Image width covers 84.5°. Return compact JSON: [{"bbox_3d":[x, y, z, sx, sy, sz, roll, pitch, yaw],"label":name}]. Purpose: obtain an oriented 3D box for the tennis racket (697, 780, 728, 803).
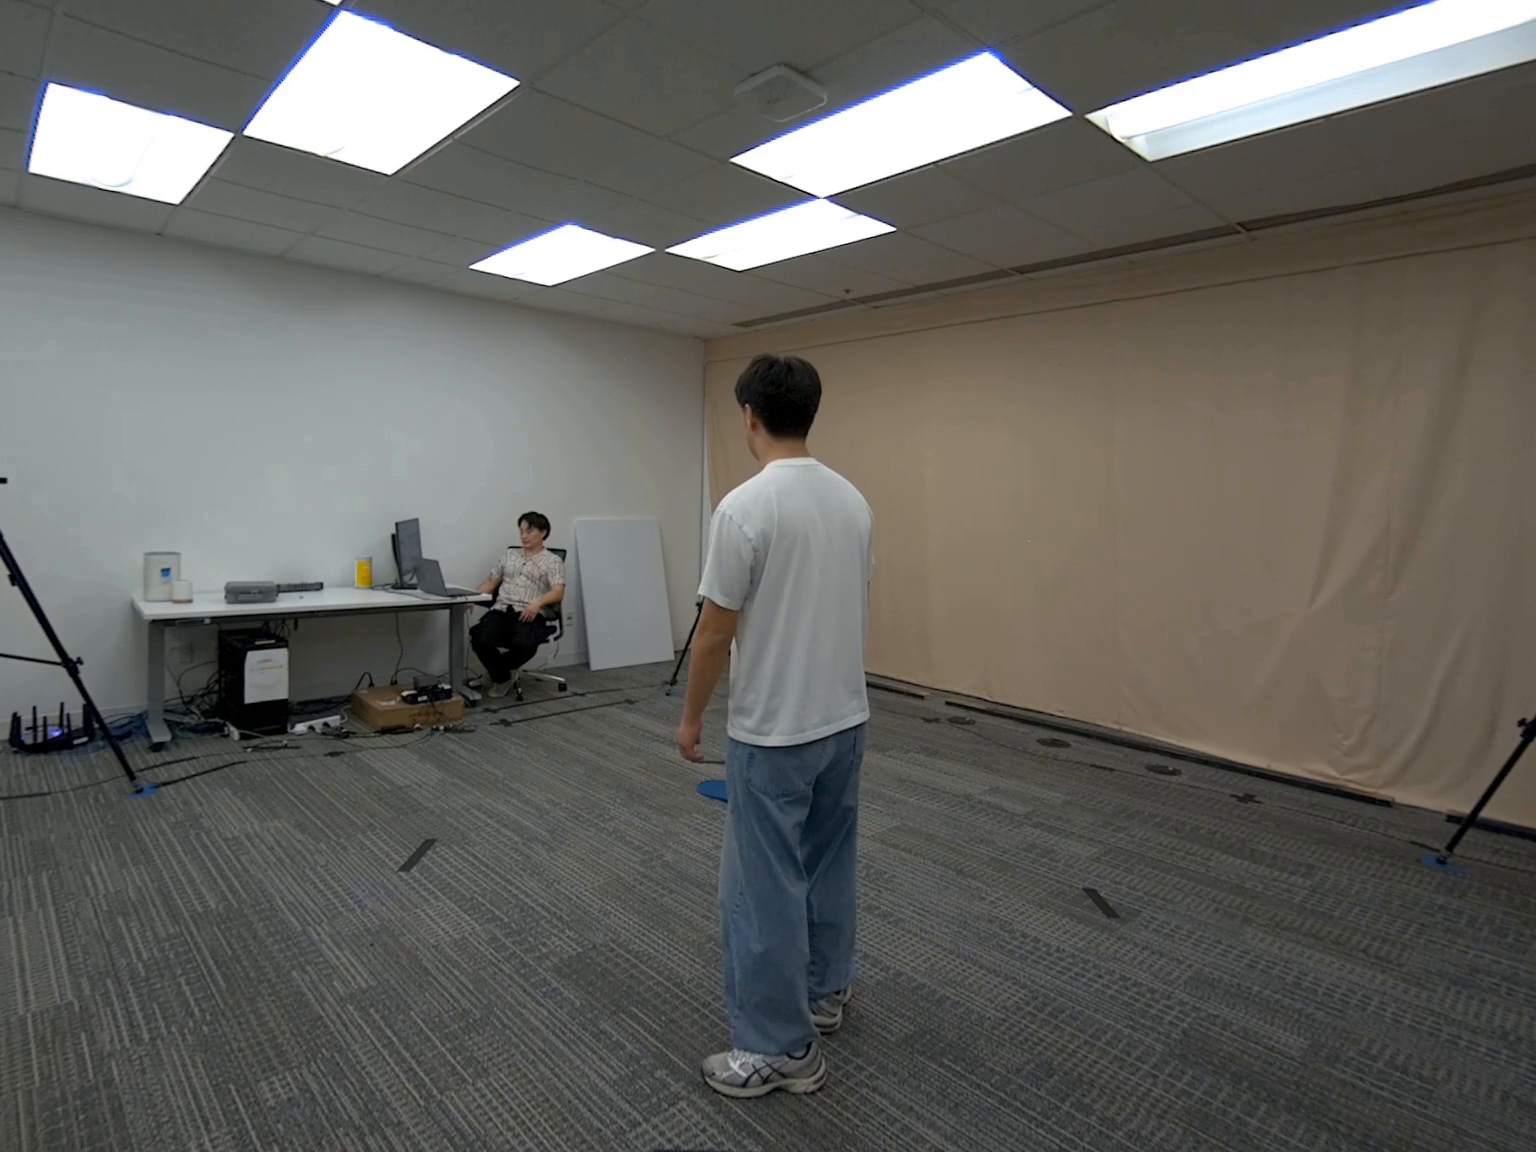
[{"bbox_3d":[-0.216,1.013,3.932,0.211,0.032,0.440,0,4,-18],"label":"tennis racket"}]
